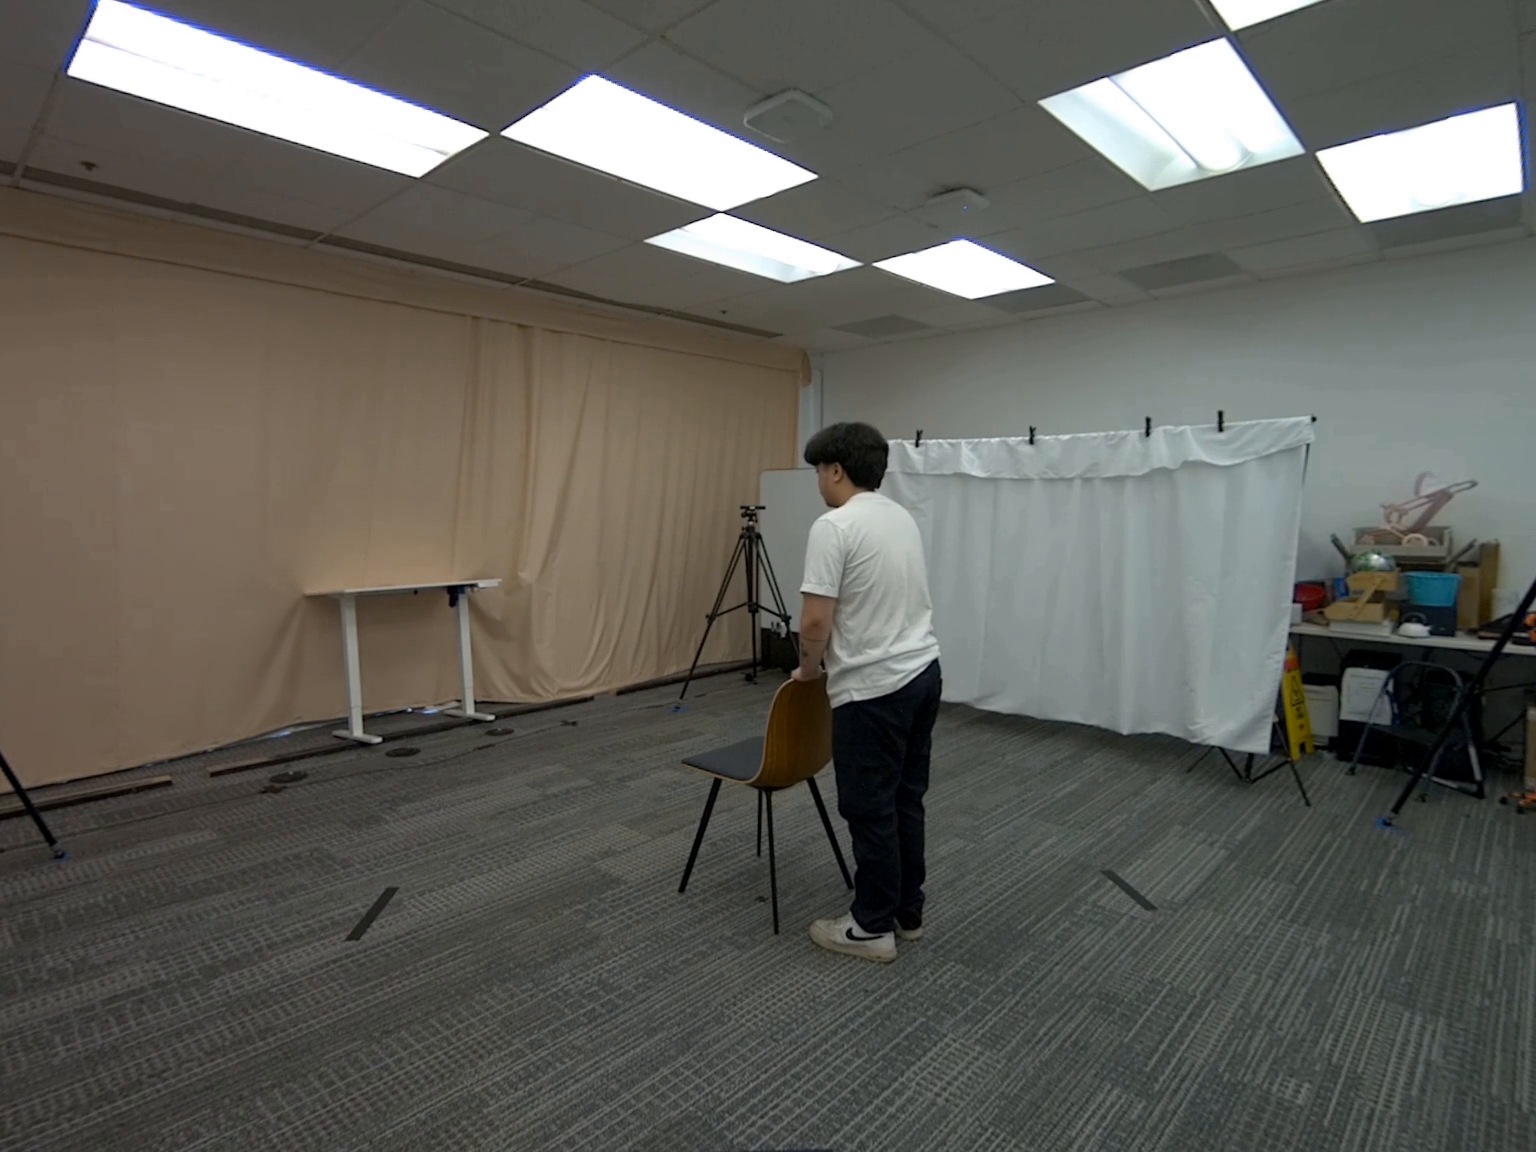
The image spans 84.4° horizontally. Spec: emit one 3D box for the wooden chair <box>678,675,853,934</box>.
[{"bbox_3d":[-0.012,0.716,3.026,0.541,0.874,0.463,8,8,40],"label":"wooden chair"}]
